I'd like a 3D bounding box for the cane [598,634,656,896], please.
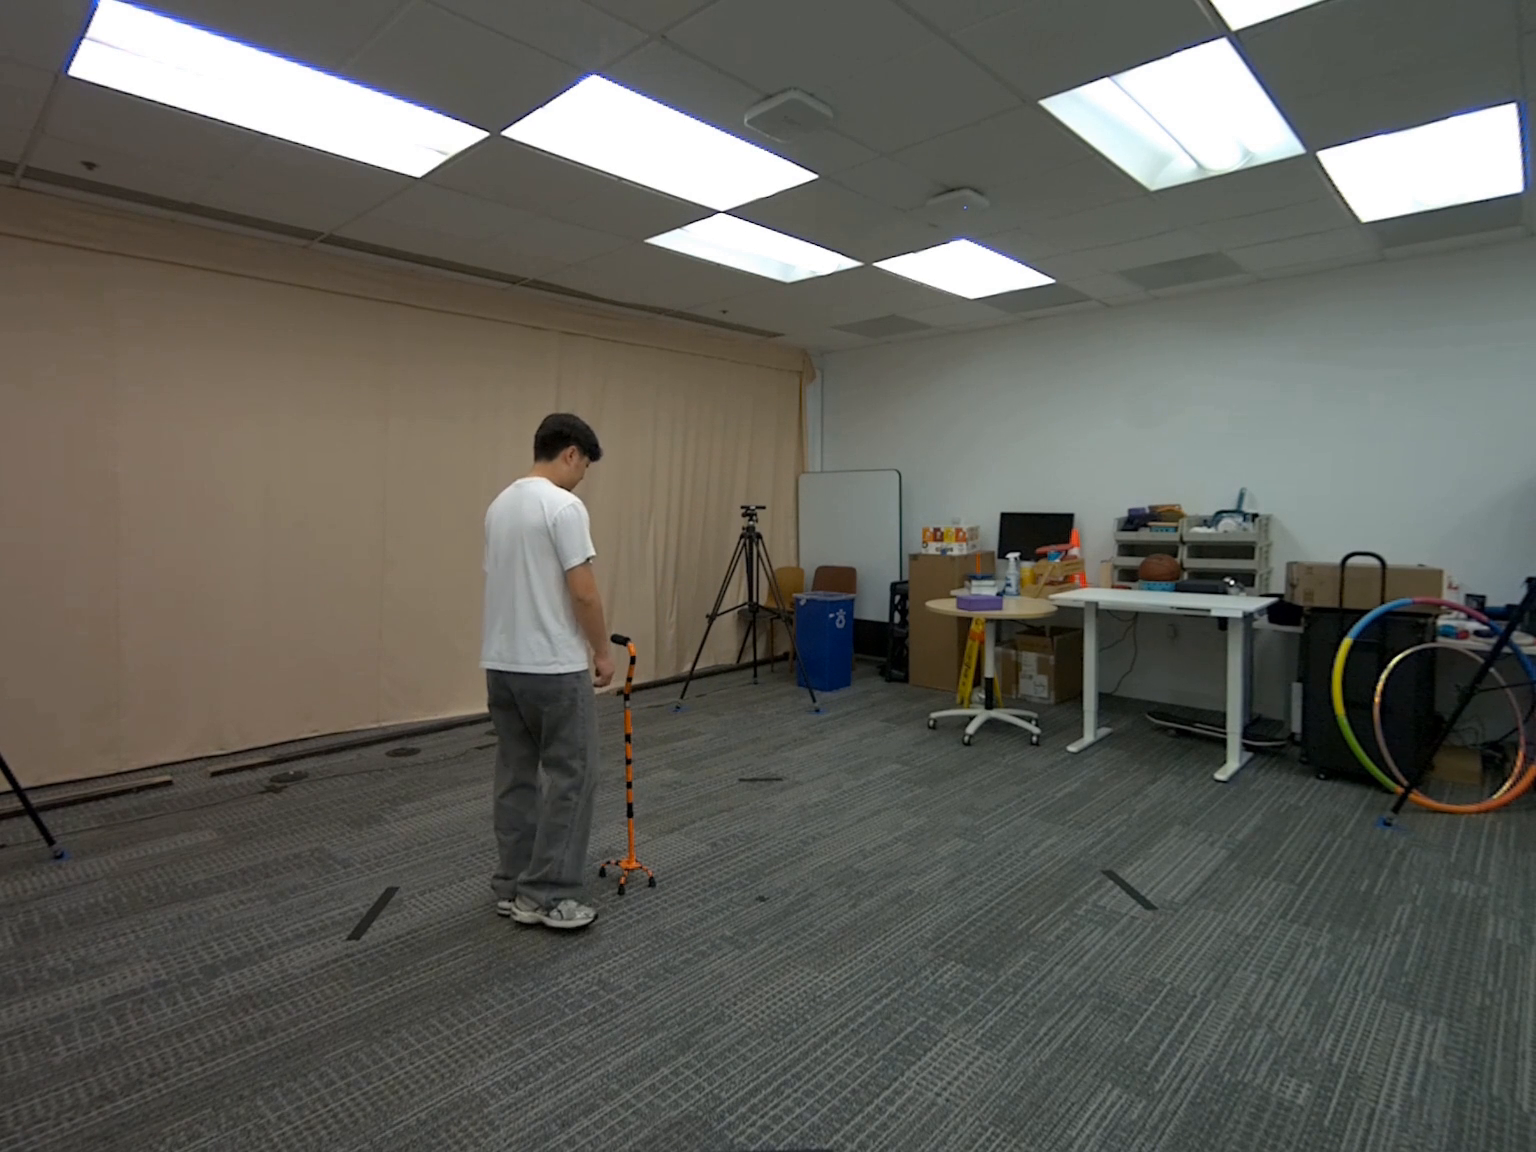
[{"bbox_3d":[-0.527,0.684,3.117,0.147,0.906,0.213,-2,3,-34],"label":"cane"}]
